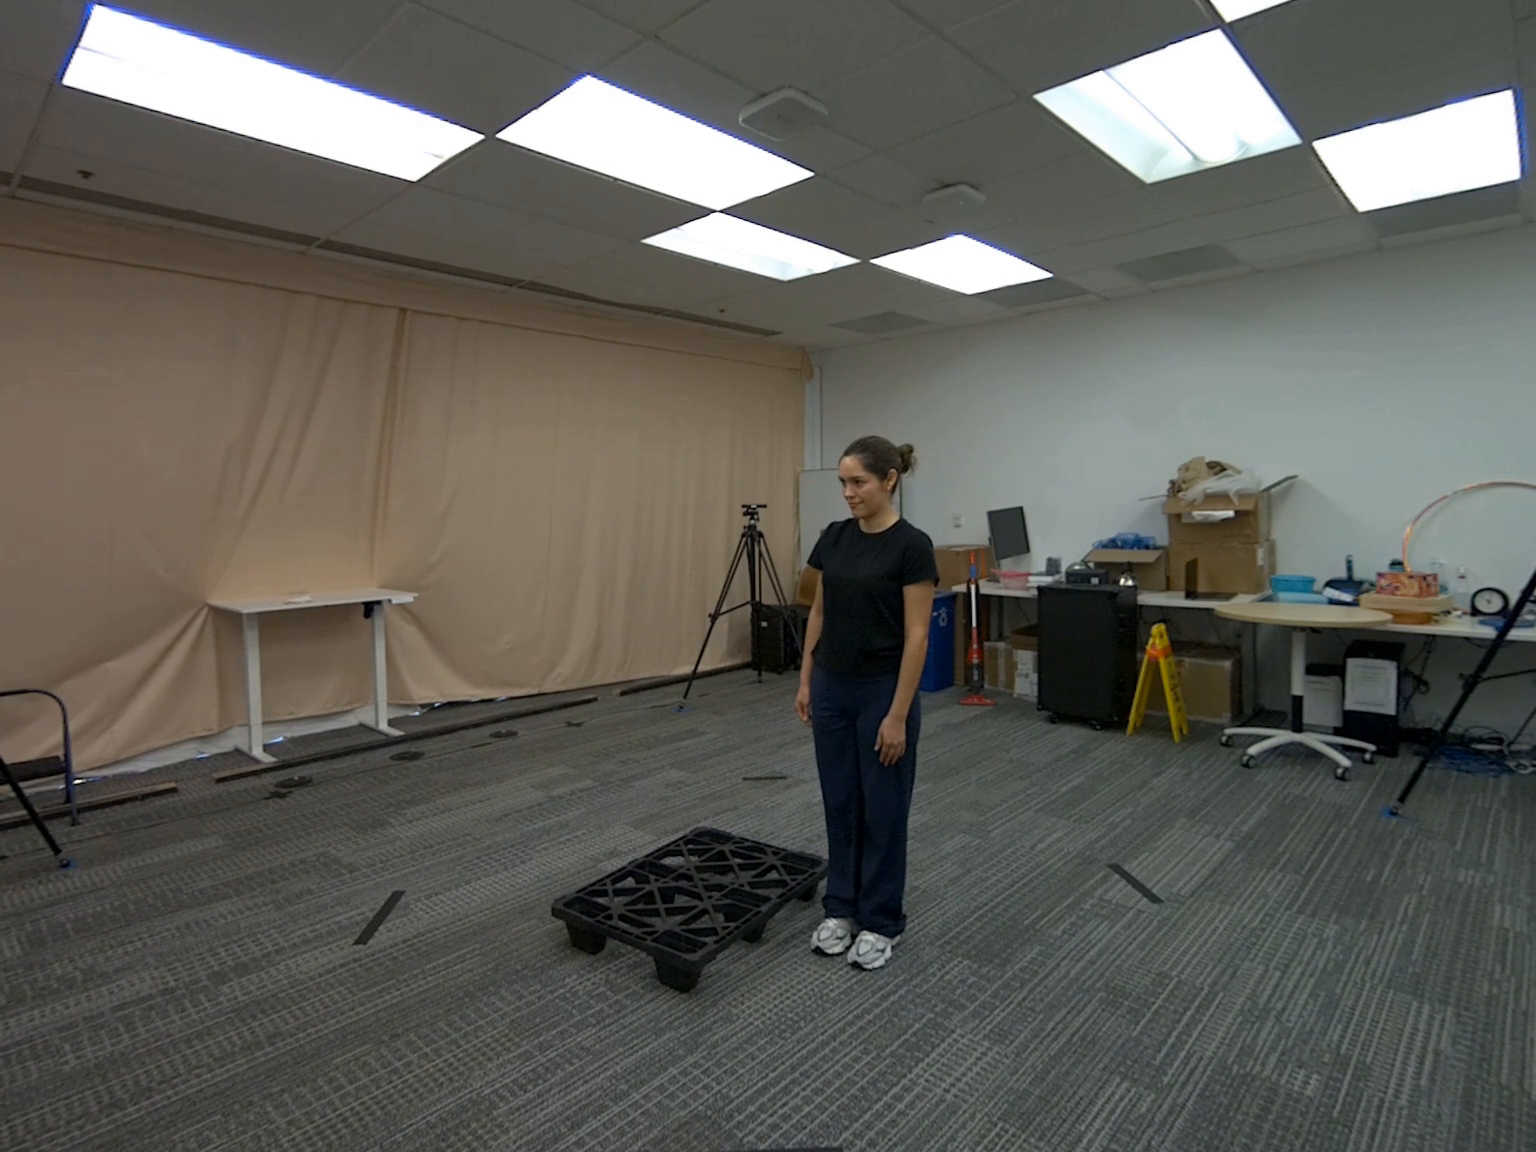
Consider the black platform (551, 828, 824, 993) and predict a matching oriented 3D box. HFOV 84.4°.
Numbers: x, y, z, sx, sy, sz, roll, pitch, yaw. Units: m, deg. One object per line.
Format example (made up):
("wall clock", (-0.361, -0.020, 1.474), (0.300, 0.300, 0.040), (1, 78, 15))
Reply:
("black platform", (-0.210, 1.092, 2.830), (0.624, 0.143, 0.783), (3, 7, 34))
